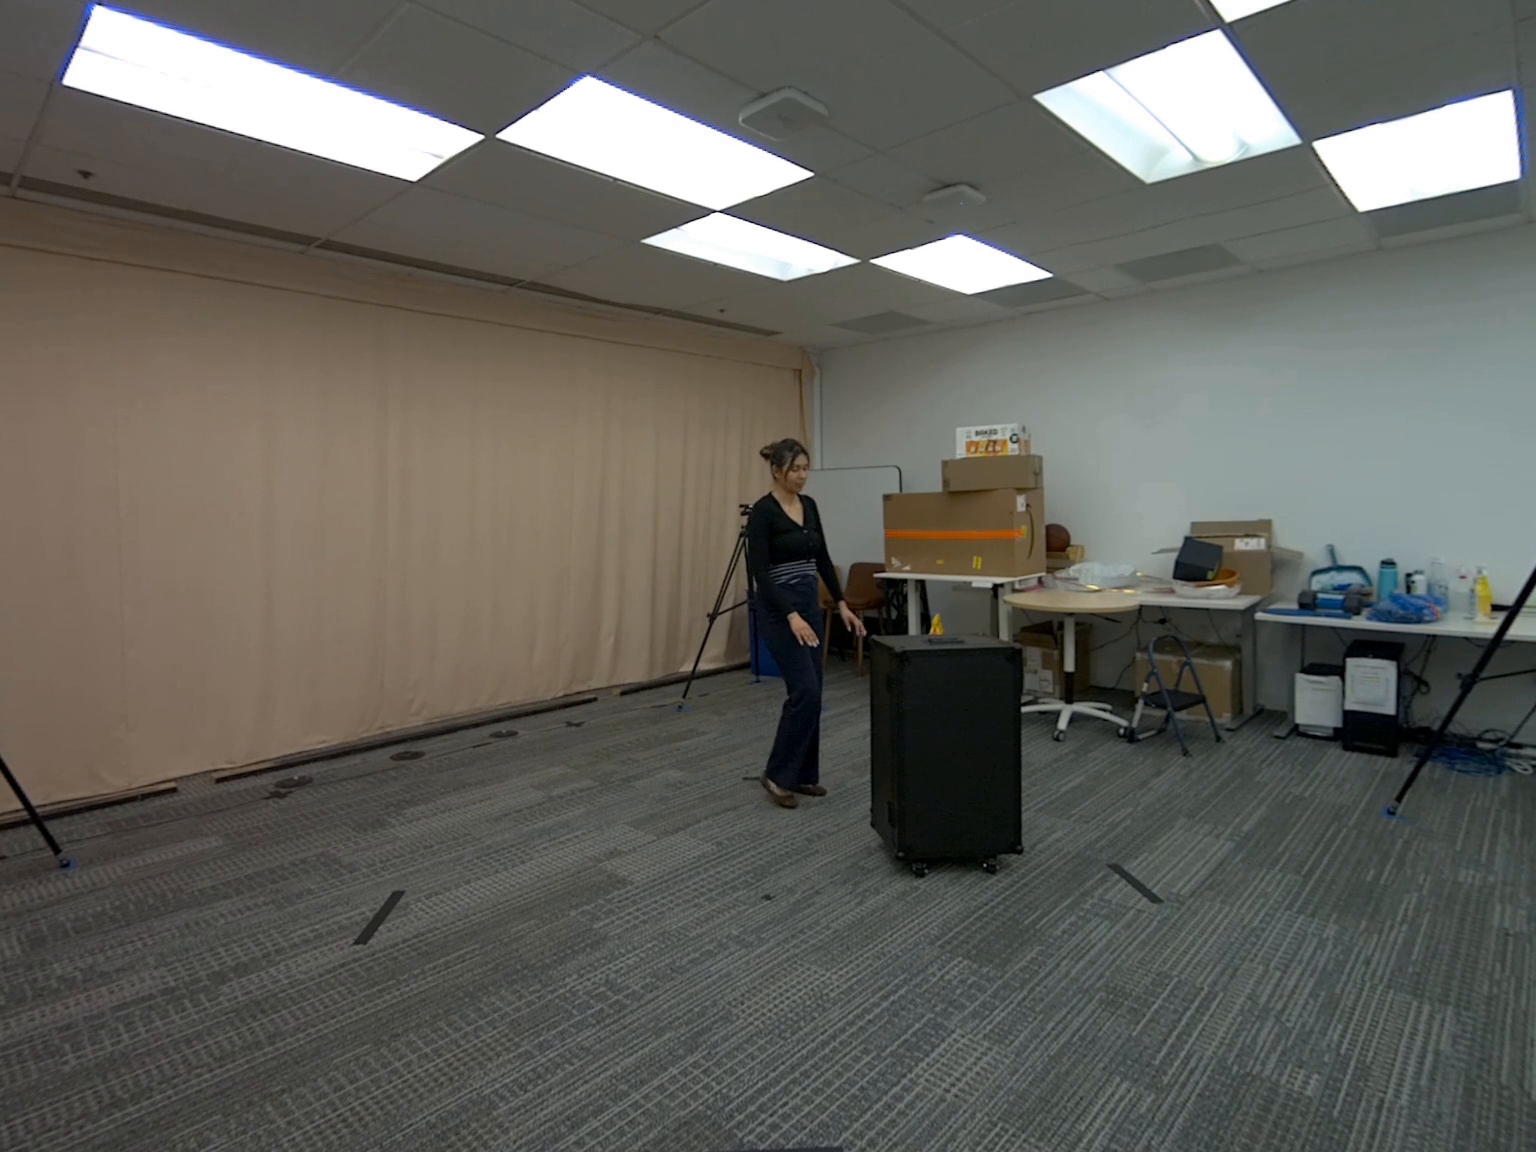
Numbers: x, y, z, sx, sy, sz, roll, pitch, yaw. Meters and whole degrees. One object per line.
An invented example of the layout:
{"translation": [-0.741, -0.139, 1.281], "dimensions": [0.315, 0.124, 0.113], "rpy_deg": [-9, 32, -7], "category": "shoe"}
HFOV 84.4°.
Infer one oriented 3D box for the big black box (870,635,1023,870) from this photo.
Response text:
{"translation": [0.678, 0.673, 3.296], "dimensions": [0.518, 0.860, 0.399], "rpy_deg": [-1, 2, -6], "category": "big black box"}
